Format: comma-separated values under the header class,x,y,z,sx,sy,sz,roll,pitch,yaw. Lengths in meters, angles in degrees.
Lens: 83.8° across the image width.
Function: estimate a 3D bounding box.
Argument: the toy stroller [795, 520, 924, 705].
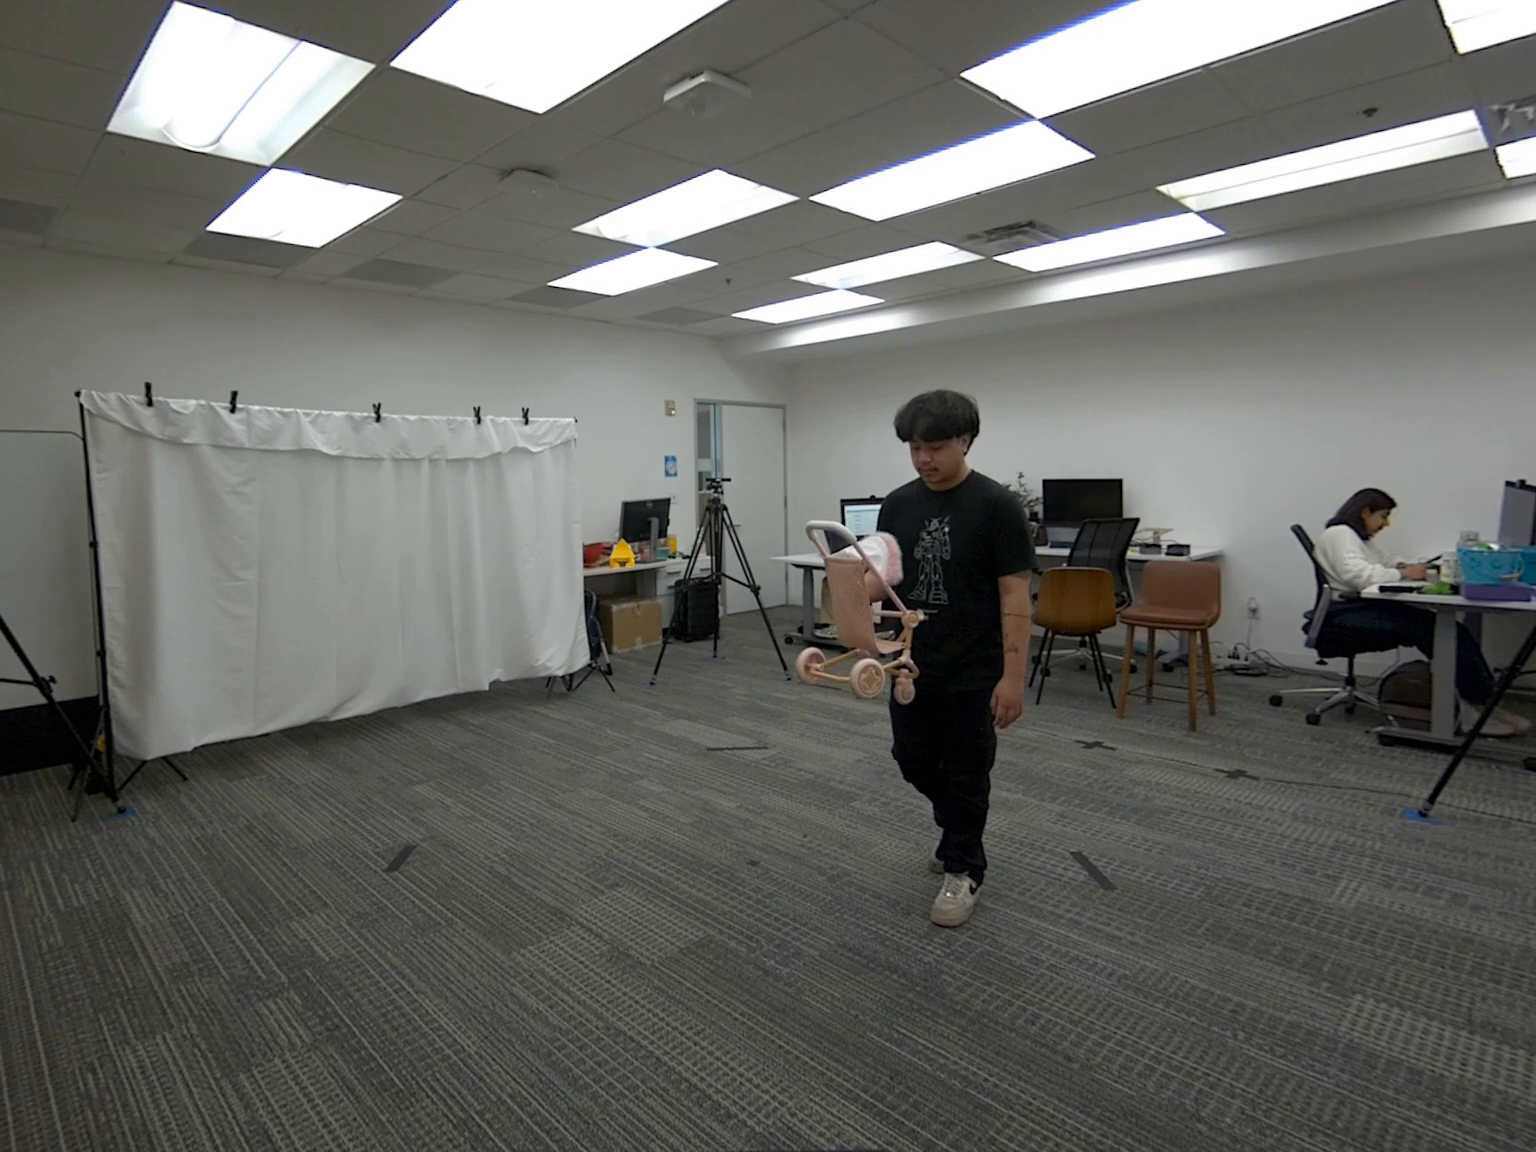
class,x,y,z,sx,sy,sz,roll,pitch,yaw
toy stroller,0.305,0.113,2.447,0.334,0.535,0.288,-1,0,-26
